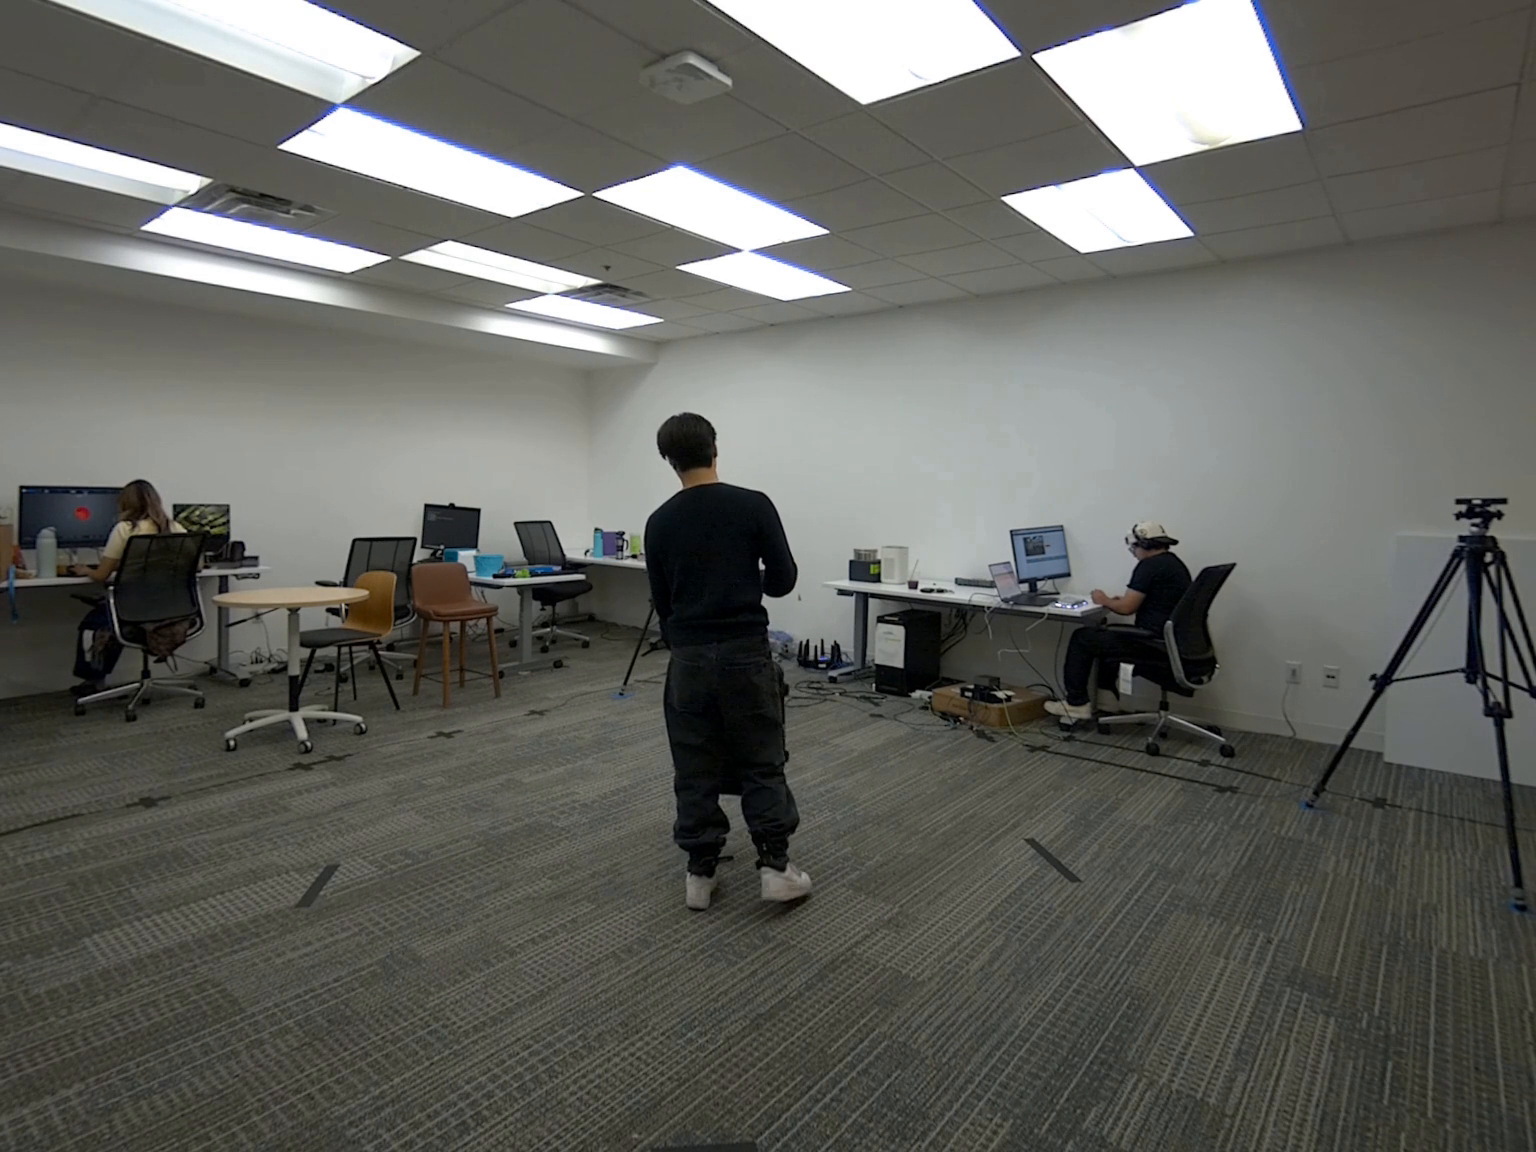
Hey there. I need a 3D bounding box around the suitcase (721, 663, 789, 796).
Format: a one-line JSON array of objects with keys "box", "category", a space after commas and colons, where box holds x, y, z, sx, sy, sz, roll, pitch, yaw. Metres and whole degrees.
[{"box": [-0.124, 0.381, 3.286, 0.389, 0.982, 0.253, 1, -3, 12], "category": "suitcase"}]
